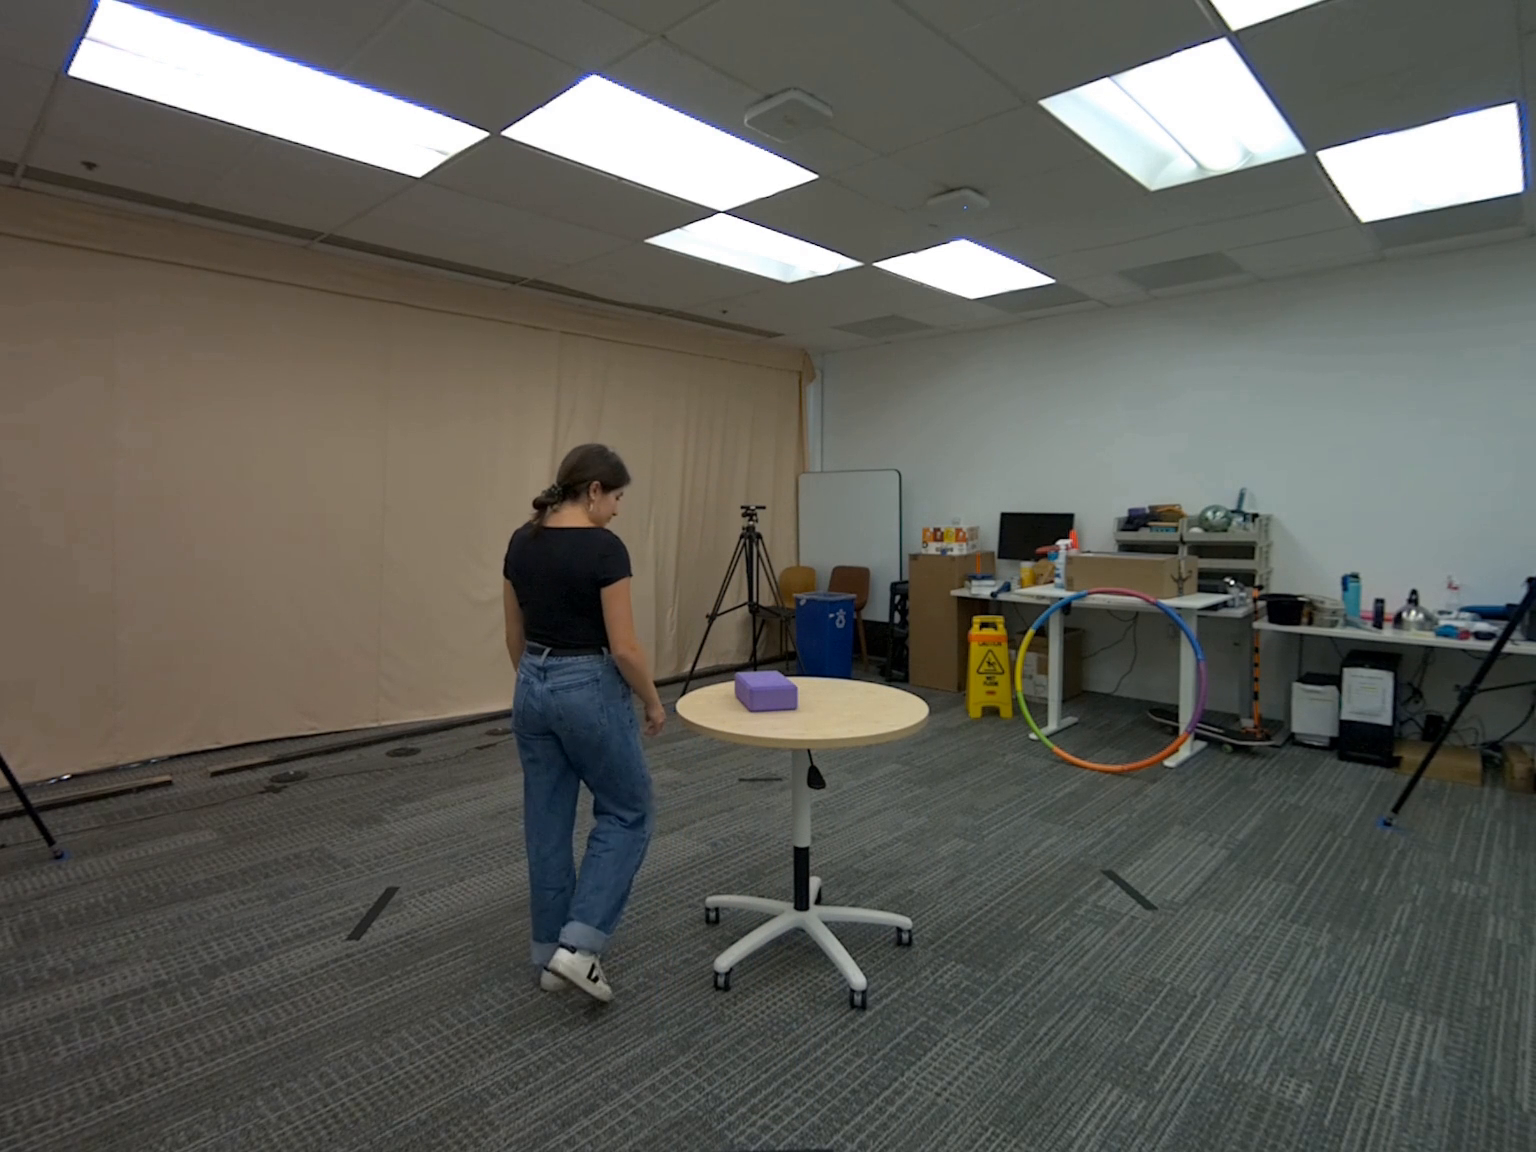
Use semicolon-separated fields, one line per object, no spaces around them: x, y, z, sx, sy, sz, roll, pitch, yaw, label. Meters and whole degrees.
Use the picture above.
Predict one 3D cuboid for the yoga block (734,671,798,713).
0.001;0.357;2.596;0.147;0.076;0.233;-1;5;-12;yoga block
